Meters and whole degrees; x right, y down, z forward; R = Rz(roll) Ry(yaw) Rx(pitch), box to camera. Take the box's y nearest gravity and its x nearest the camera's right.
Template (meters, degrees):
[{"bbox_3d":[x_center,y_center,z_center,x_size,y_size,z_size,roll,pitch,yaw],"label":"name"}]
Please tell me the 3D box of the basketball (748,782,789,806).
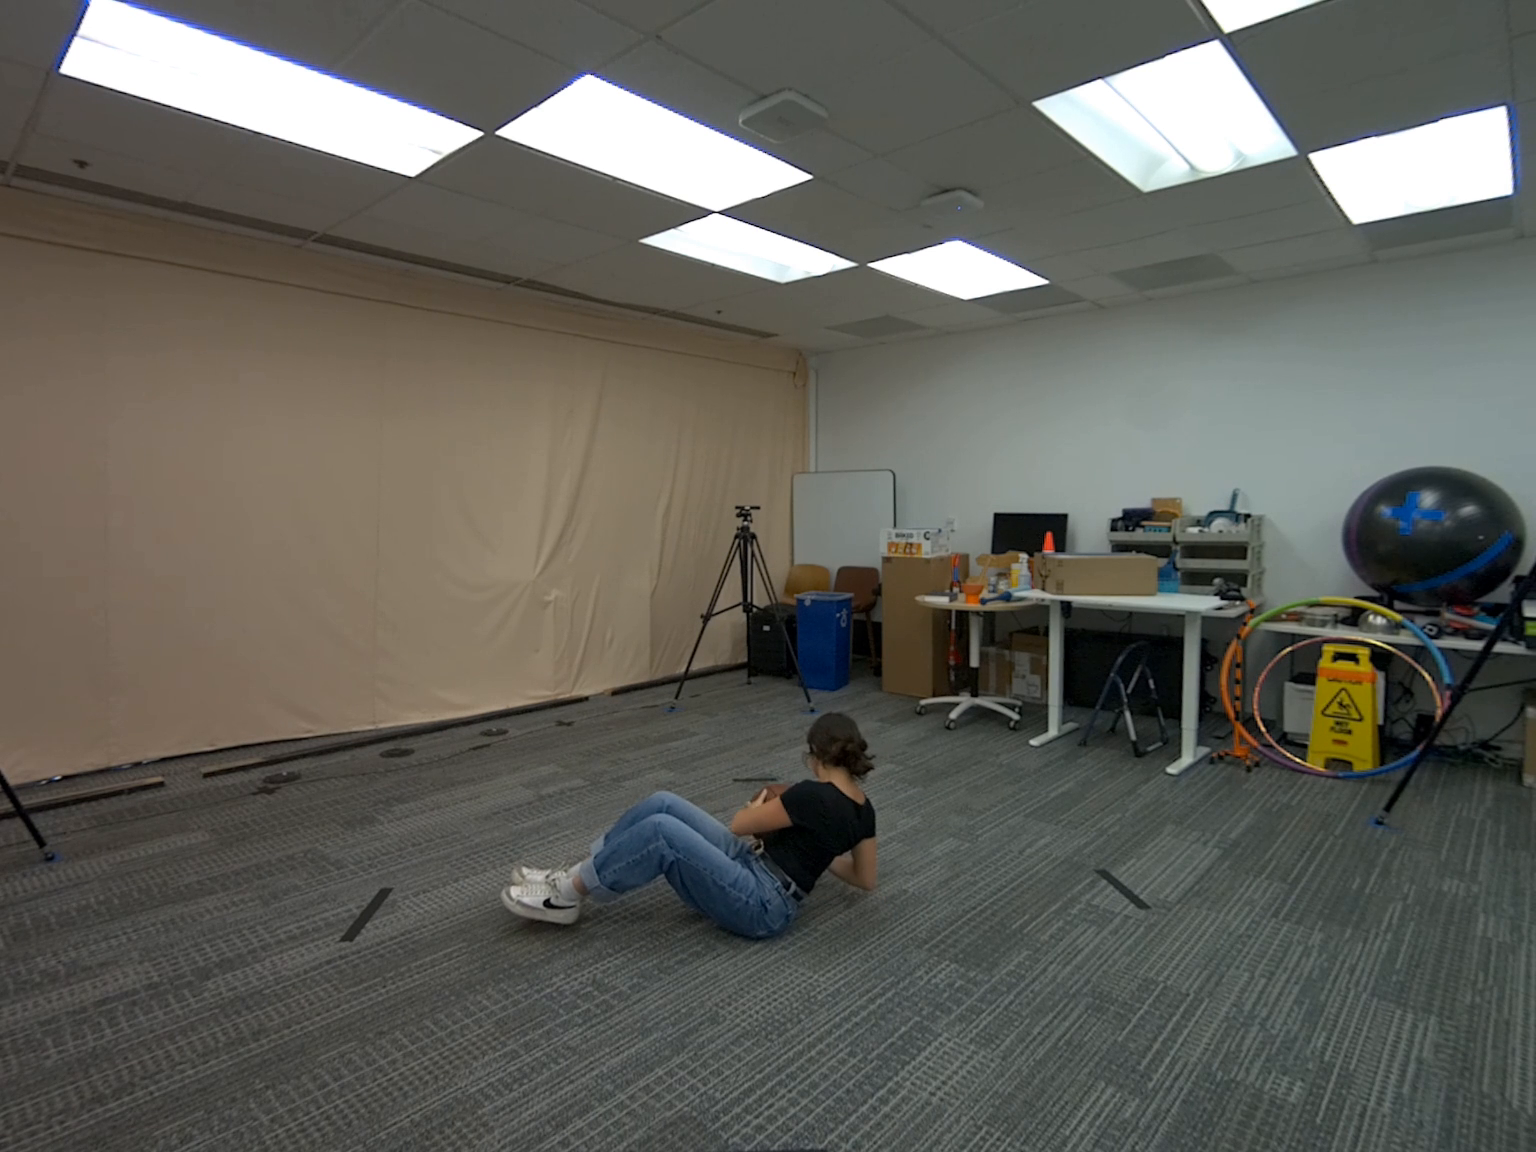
[{"bbox_3d":[0.044,0.900,3.160,0.236,0.235,0.237,0,4,-2],"label":"basketball"}]
